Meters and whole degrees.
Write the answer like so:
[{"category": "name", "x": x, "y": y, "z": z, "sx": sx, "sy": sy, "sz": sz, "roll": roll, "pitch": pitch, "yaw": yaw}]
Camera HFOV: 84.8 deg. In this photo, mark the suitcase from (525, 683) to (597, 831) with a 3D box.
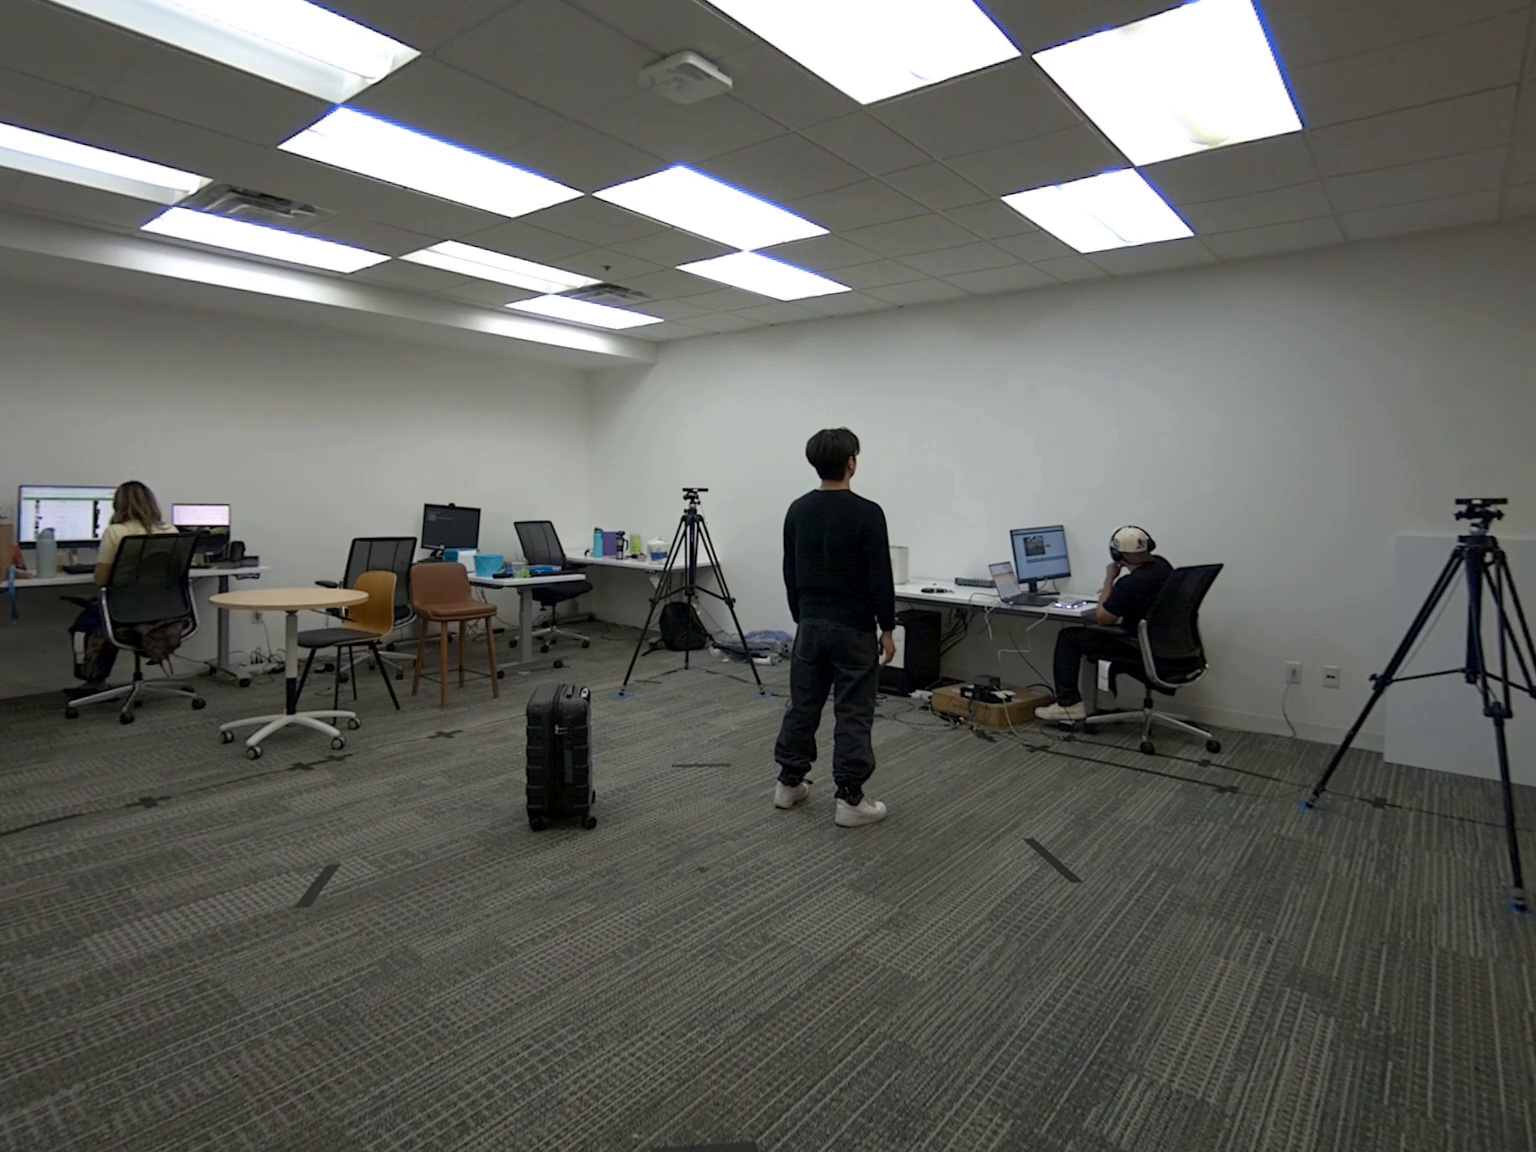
[{"category": "suitcase", "x": -0.890, "y": 0.736, "z": 3.578, "sx": 0.247, "sy": 0.548, "sz": 0.379, "roll": 1, "pitch": 4, "yaw": -7}]
